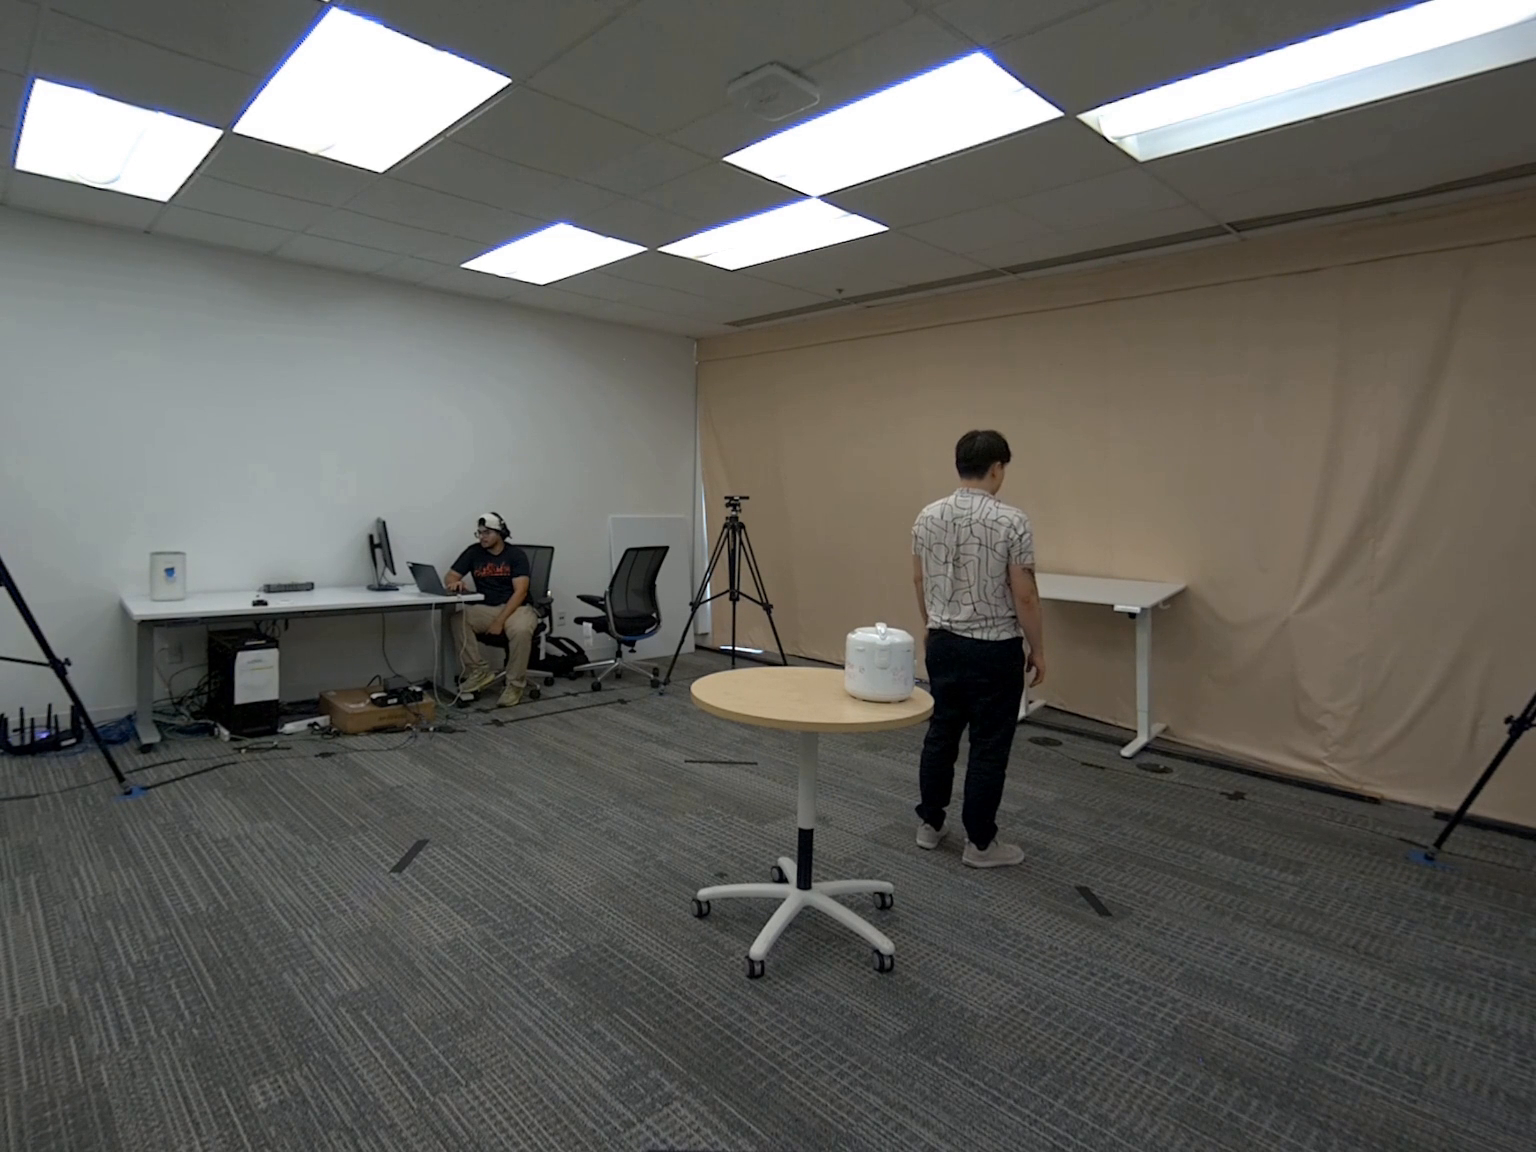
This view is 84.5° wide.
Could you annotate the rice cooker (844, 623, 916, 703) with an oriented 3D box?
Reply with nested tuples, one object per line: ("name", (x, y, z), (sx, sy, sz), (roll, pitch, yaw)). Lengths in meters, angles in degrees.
("rice cooker", (0.346, 0.263, 2.624), (0.218, 0.232, 0.220), (2, 4, 5))
